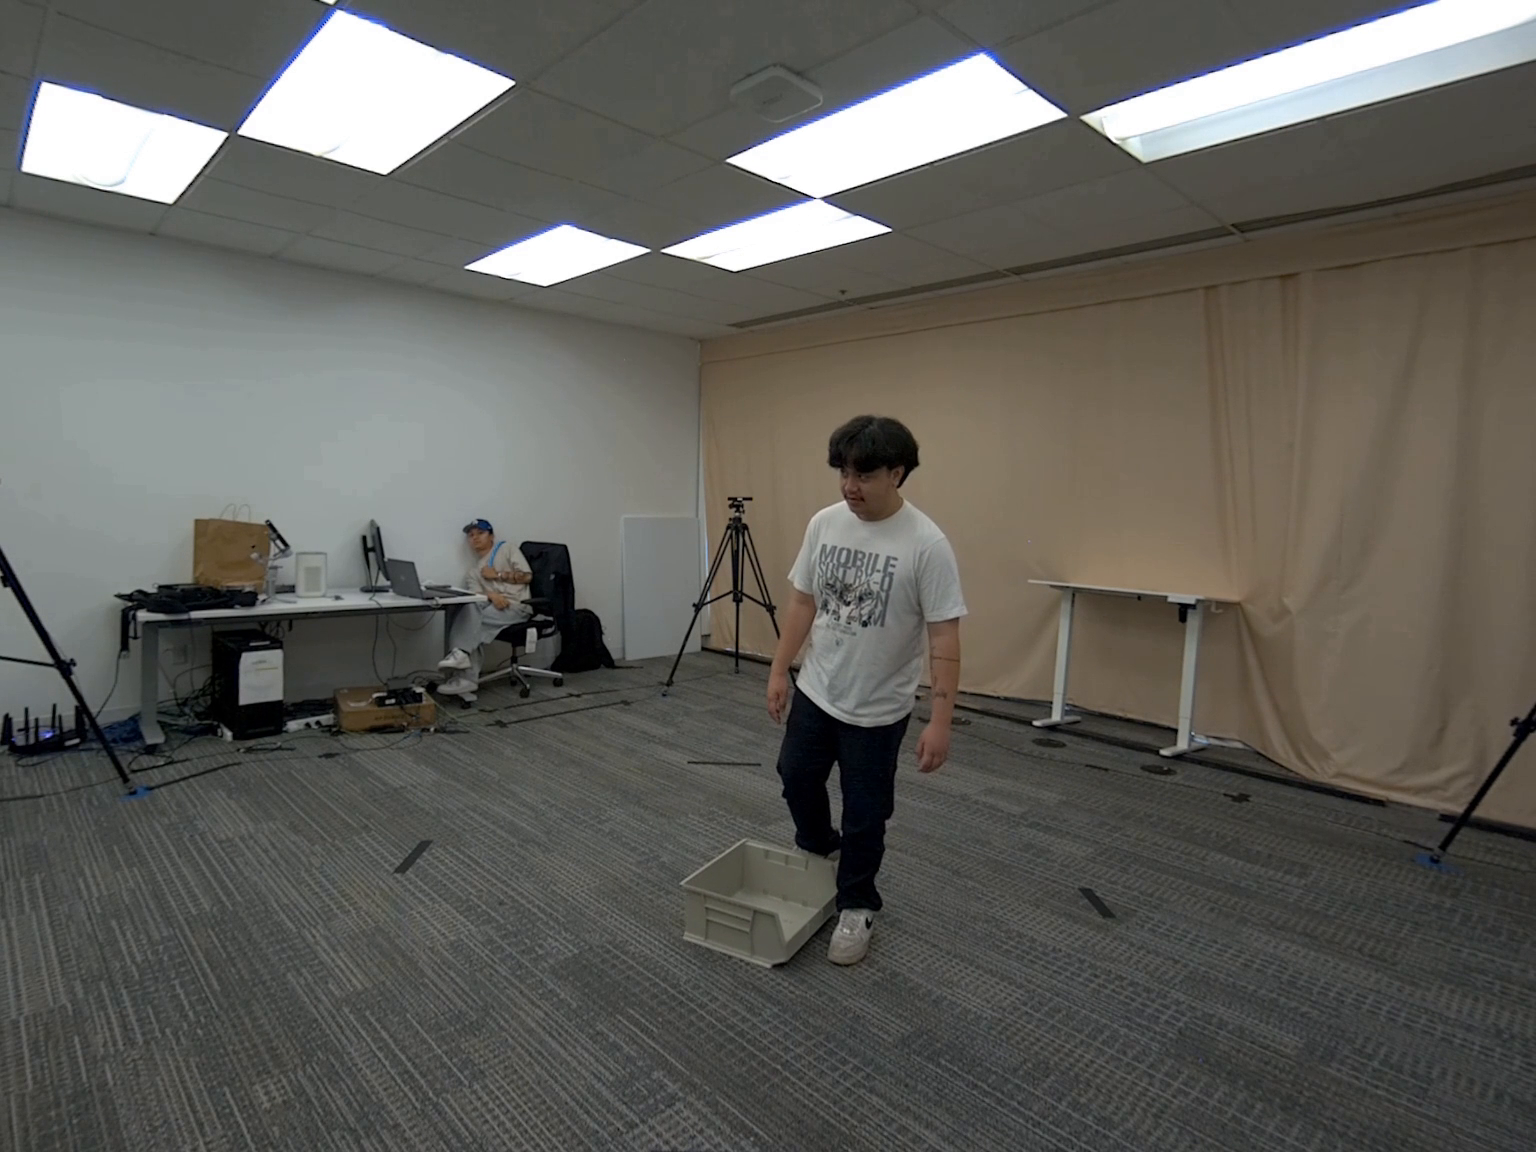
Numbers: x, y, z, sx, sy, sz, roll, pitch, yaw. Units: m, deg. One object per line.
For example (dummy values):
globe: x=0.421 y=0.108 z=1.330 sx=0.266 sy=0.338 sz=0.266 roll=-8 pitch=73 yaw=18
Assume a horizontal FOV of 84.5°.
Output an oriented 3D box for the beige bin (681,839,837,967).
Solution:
beige bin: x=-0.018 y=1.049 z=2.732 sx=0.385 sy=0.188 sz=0.414 roll=2 pitch=5 yaw=29
